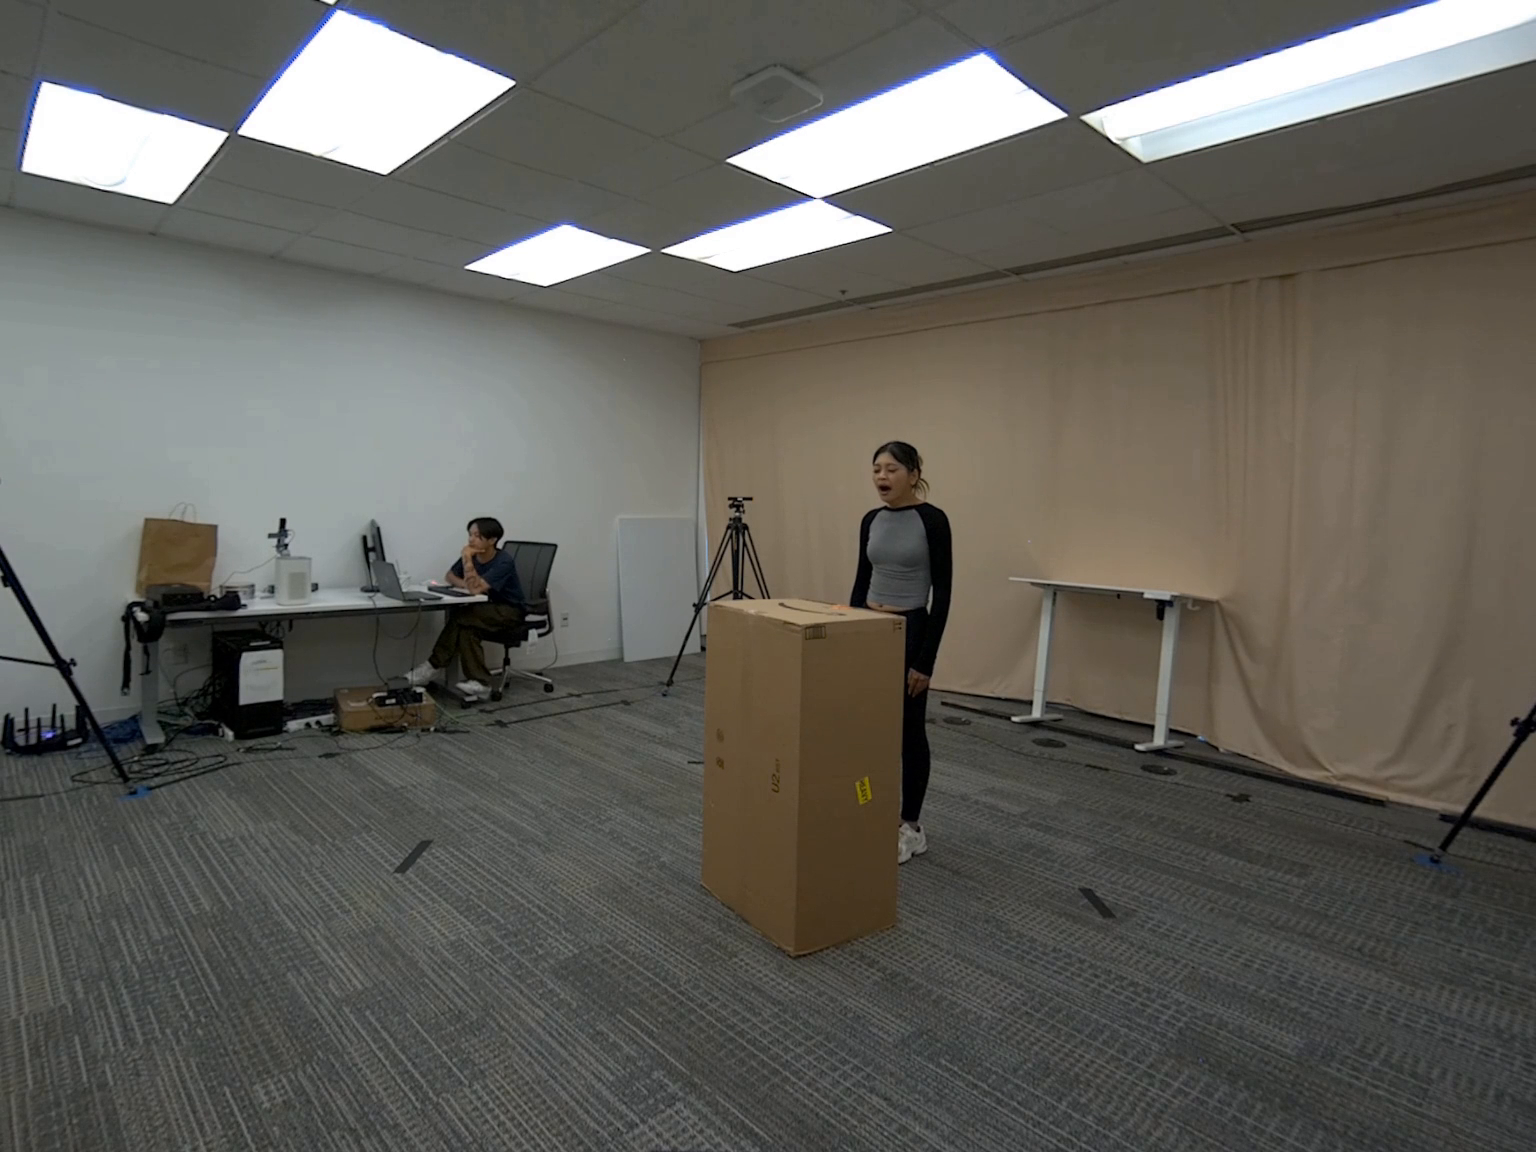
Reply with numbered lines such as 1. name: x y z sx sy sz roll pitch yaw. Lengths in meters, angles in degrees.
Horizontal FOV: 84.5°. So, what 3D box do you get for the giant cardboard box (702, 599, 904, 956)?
1. giant cardboard box: 0.101 0.626 2.879 0.437 1.024 0.598 -1 4 -34
